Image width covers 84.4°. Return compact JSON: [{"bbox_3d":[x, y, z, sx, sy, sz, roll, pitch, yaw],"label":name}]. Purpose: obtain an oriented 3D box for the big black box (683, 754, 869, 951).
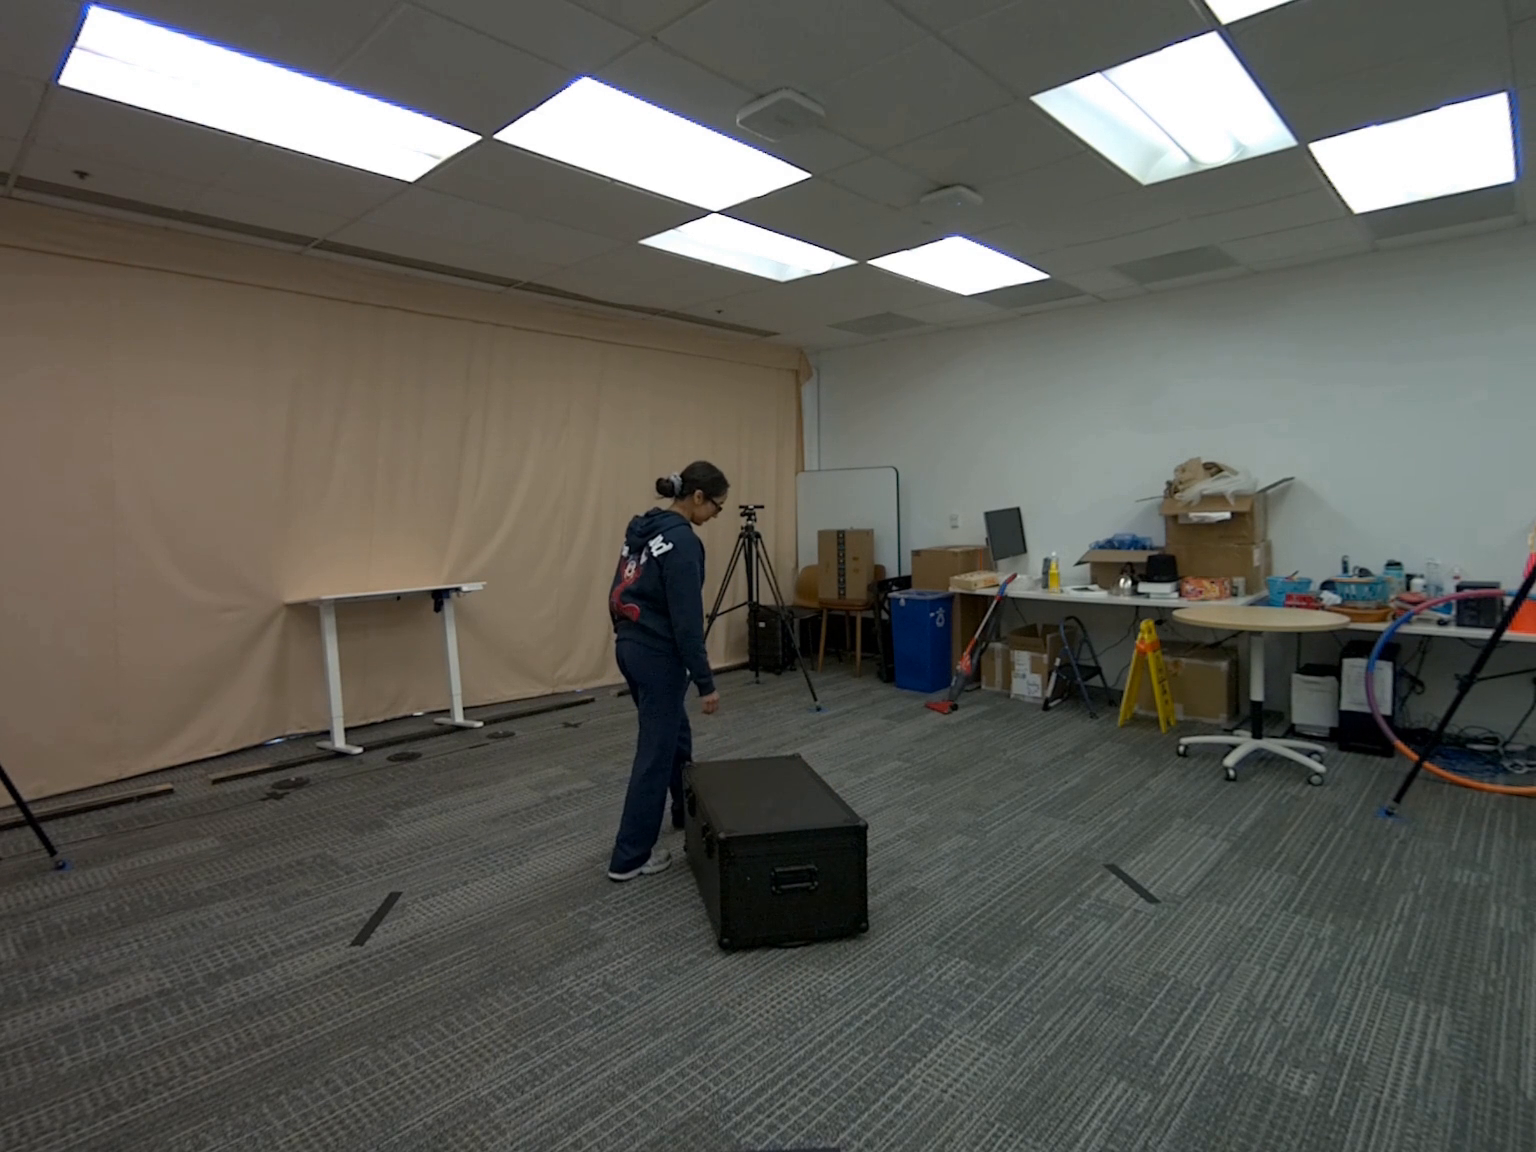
[{"bbox_3d":[-0.009,0.945,3.042,0.515,0.395,0.875,-2,5,-13],"label":"big black box"}]
